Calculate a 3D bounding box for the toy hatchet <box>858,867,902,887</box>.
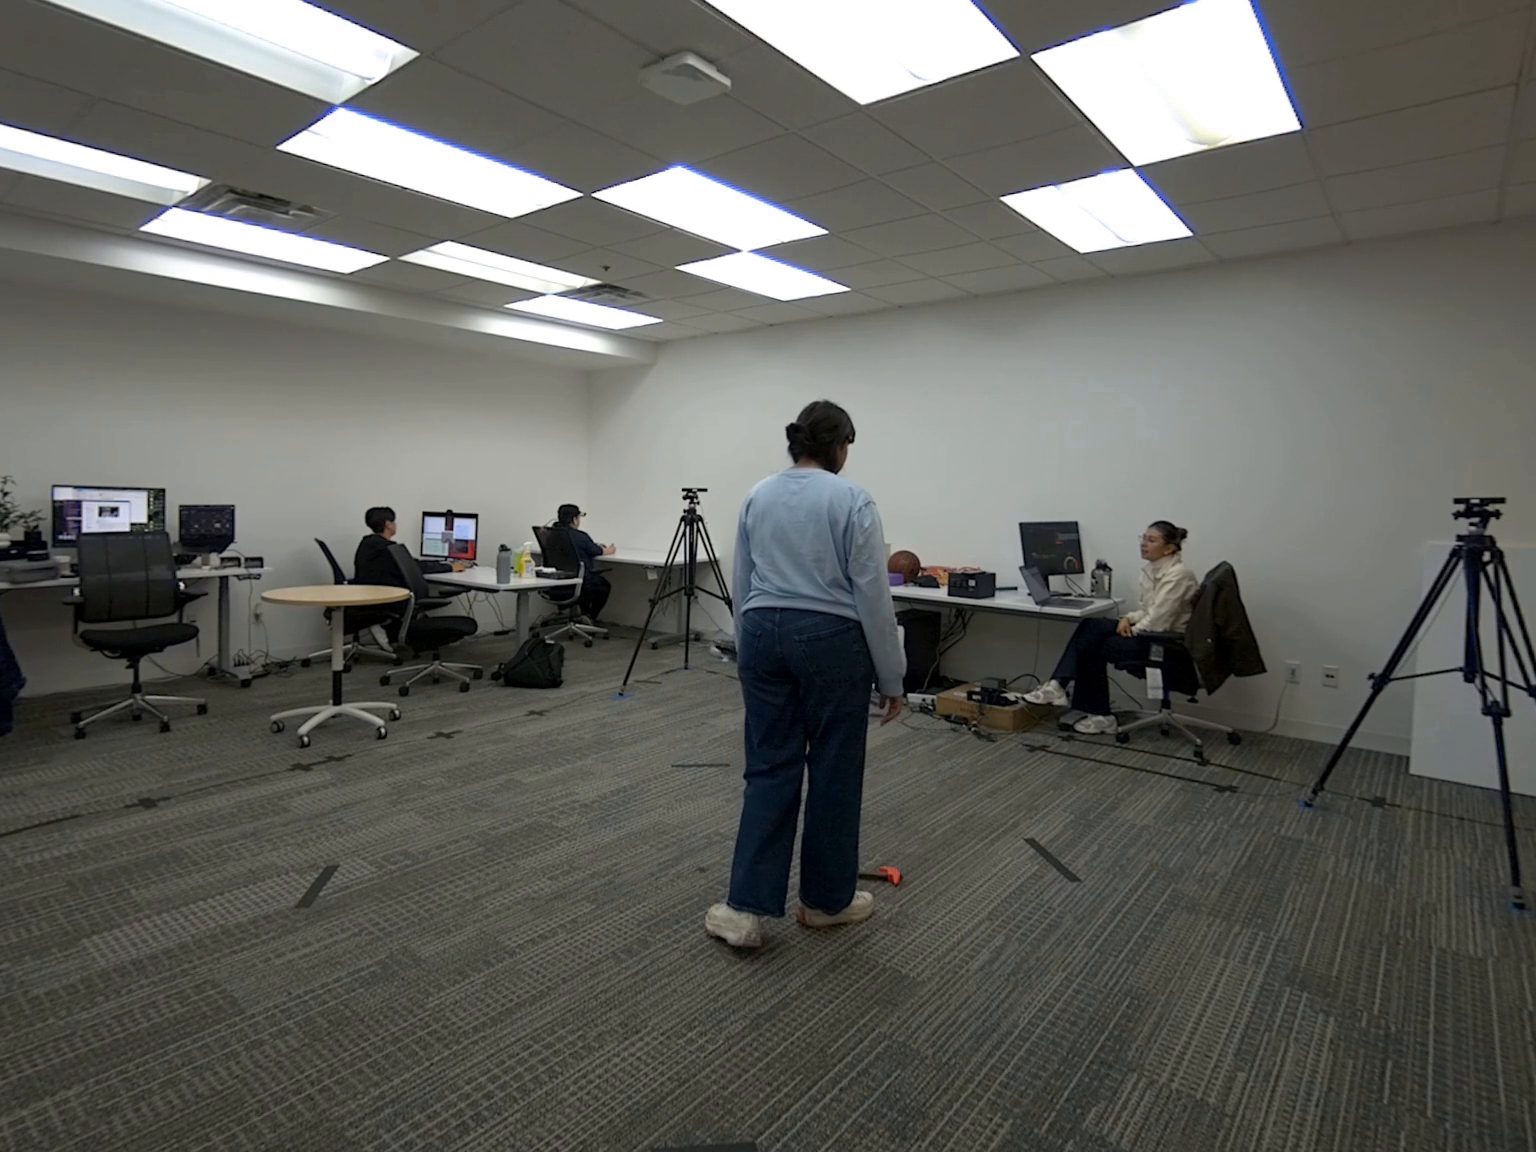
[{"bbox_3d":[0.344,1.064,3.102,0.277,0.029,0.128,2,6,26],"label":"toy hatchet"}]
